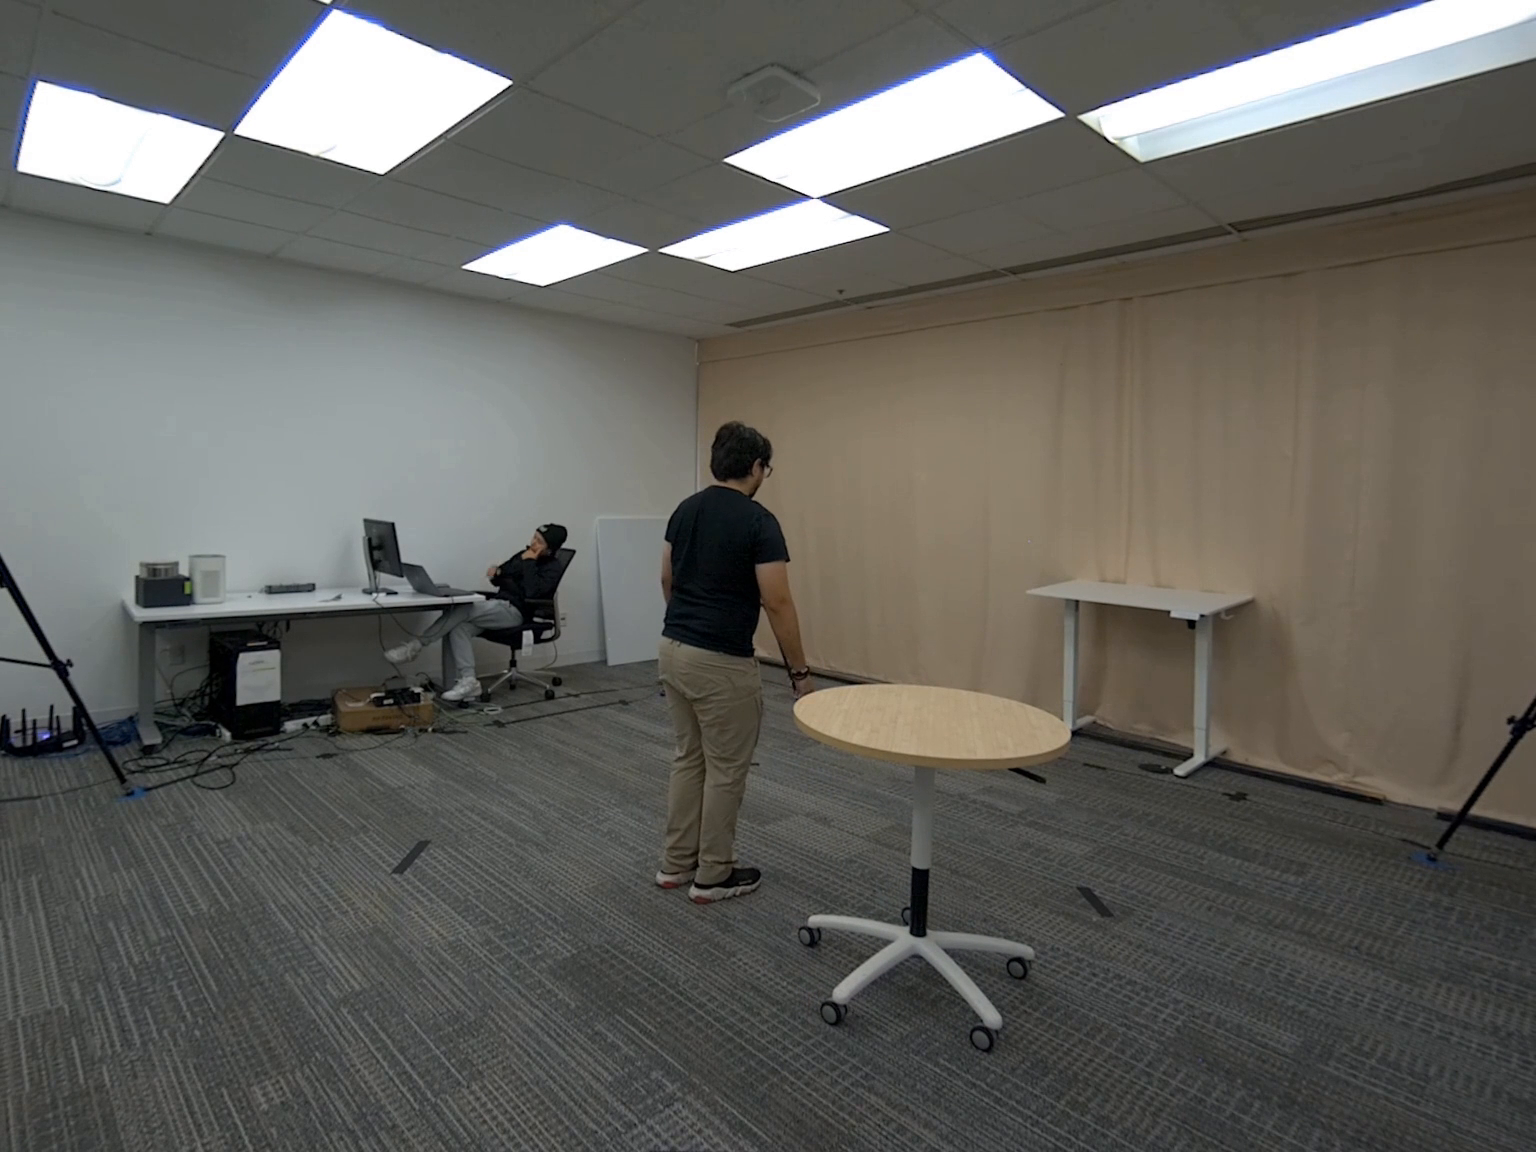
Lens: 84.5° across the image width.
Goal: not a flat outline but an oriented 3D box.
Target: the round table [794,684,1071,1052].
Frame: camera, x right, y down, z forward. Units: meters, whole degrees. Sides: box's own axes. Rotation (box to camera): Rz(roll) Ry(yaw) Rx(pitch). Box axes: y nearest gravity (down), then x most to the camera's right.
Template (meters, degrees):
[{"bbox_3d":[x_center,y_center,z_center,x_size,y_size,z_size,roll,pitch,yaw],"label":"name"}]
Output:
[{"bbox_3d":[0.440,0.786,2.448,0.784,0.784,0.788,2,5,-2],"label":"round table"}]
